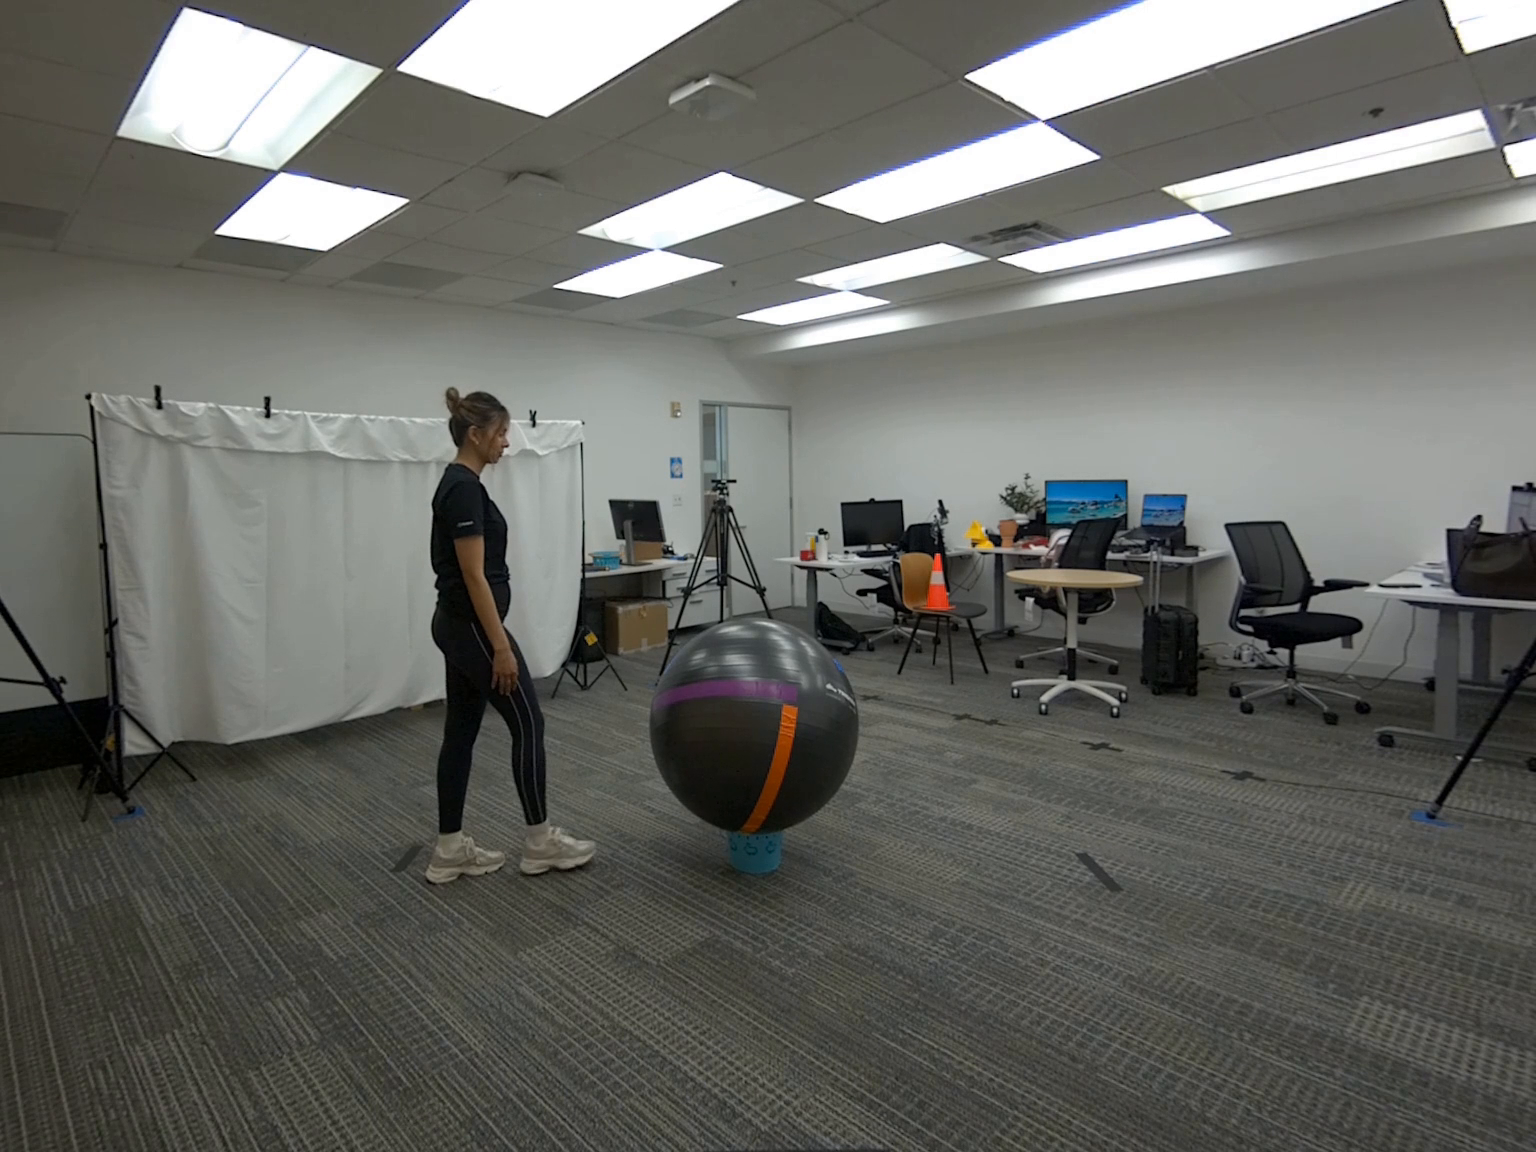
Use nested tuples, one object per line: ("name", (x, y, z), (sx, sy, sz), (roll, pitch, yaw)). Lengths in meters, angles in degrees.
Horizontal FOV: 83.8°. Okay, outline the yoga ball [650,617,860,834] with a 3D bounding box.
("yoga ball", (-0.054, 0.533, 3.102), (0.757, 0.755, 0.762), (-1, 5, -2))
